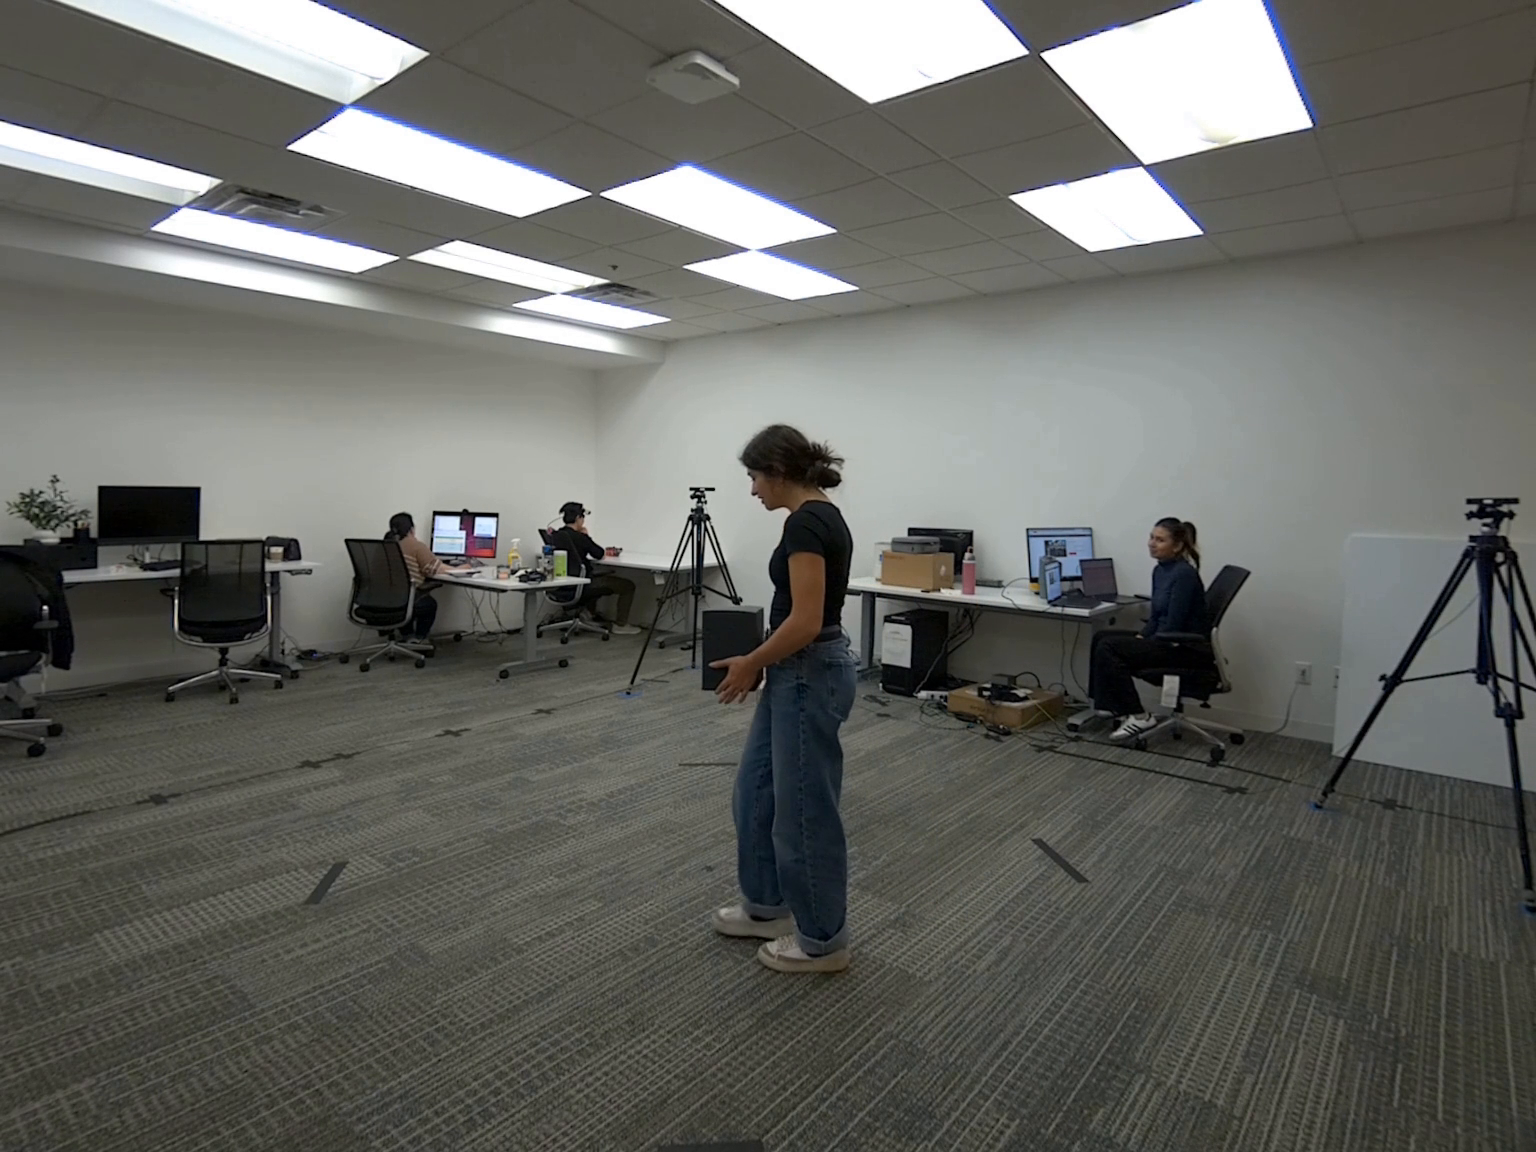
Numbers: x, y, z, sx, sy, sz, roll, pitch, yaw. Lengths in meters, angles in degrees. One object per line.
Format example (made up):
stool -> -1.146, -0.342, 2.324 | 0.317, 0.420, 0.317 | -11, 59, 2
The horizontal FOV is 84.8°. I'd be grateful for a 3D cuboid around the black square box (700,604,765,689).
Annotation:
black square box -> -0.105, 0.203, 2.525 | 0.157, 0.228, 0.214 | 1, -1, 8
